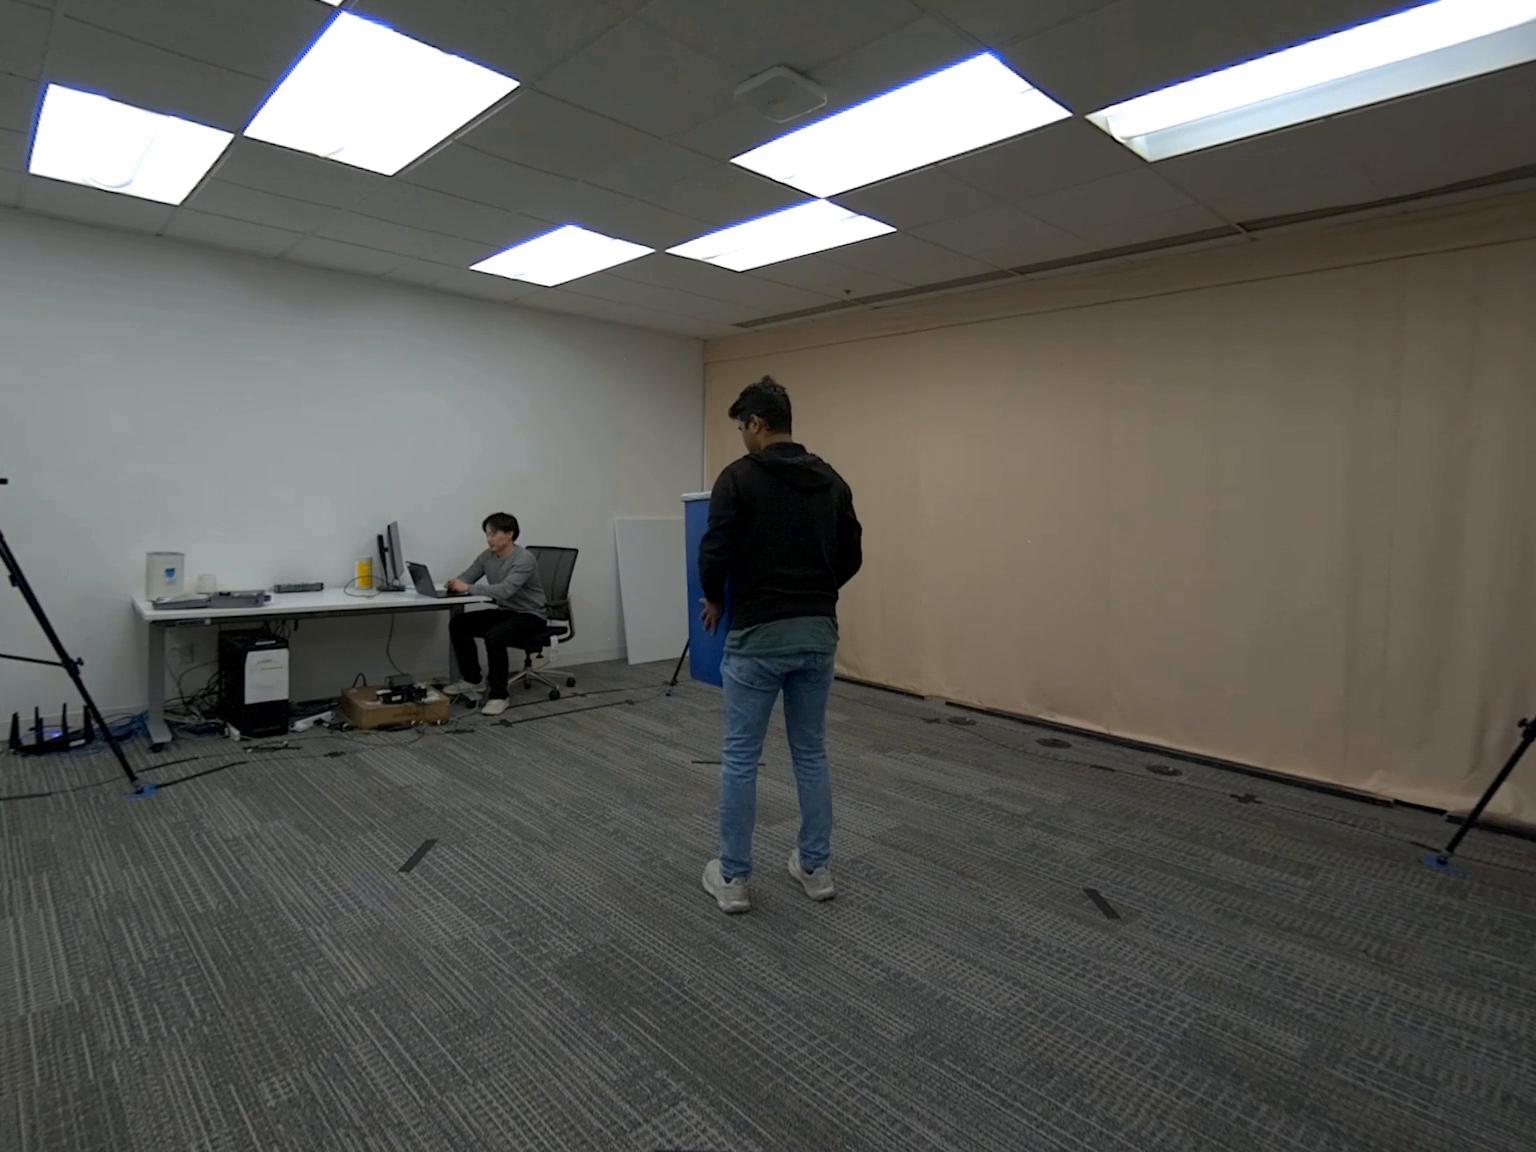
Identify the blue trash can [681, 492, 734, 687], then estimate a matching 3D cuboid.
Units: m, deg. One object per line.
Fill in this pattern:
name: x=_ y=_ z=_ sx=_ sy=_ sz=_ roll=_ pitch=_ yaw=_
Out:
blue trash can: x=-0.116 y=0.048 z=3.240 sx=0.370 sy=0.713 sz=0.382 roll=1 pitch=0 yaw=-31
